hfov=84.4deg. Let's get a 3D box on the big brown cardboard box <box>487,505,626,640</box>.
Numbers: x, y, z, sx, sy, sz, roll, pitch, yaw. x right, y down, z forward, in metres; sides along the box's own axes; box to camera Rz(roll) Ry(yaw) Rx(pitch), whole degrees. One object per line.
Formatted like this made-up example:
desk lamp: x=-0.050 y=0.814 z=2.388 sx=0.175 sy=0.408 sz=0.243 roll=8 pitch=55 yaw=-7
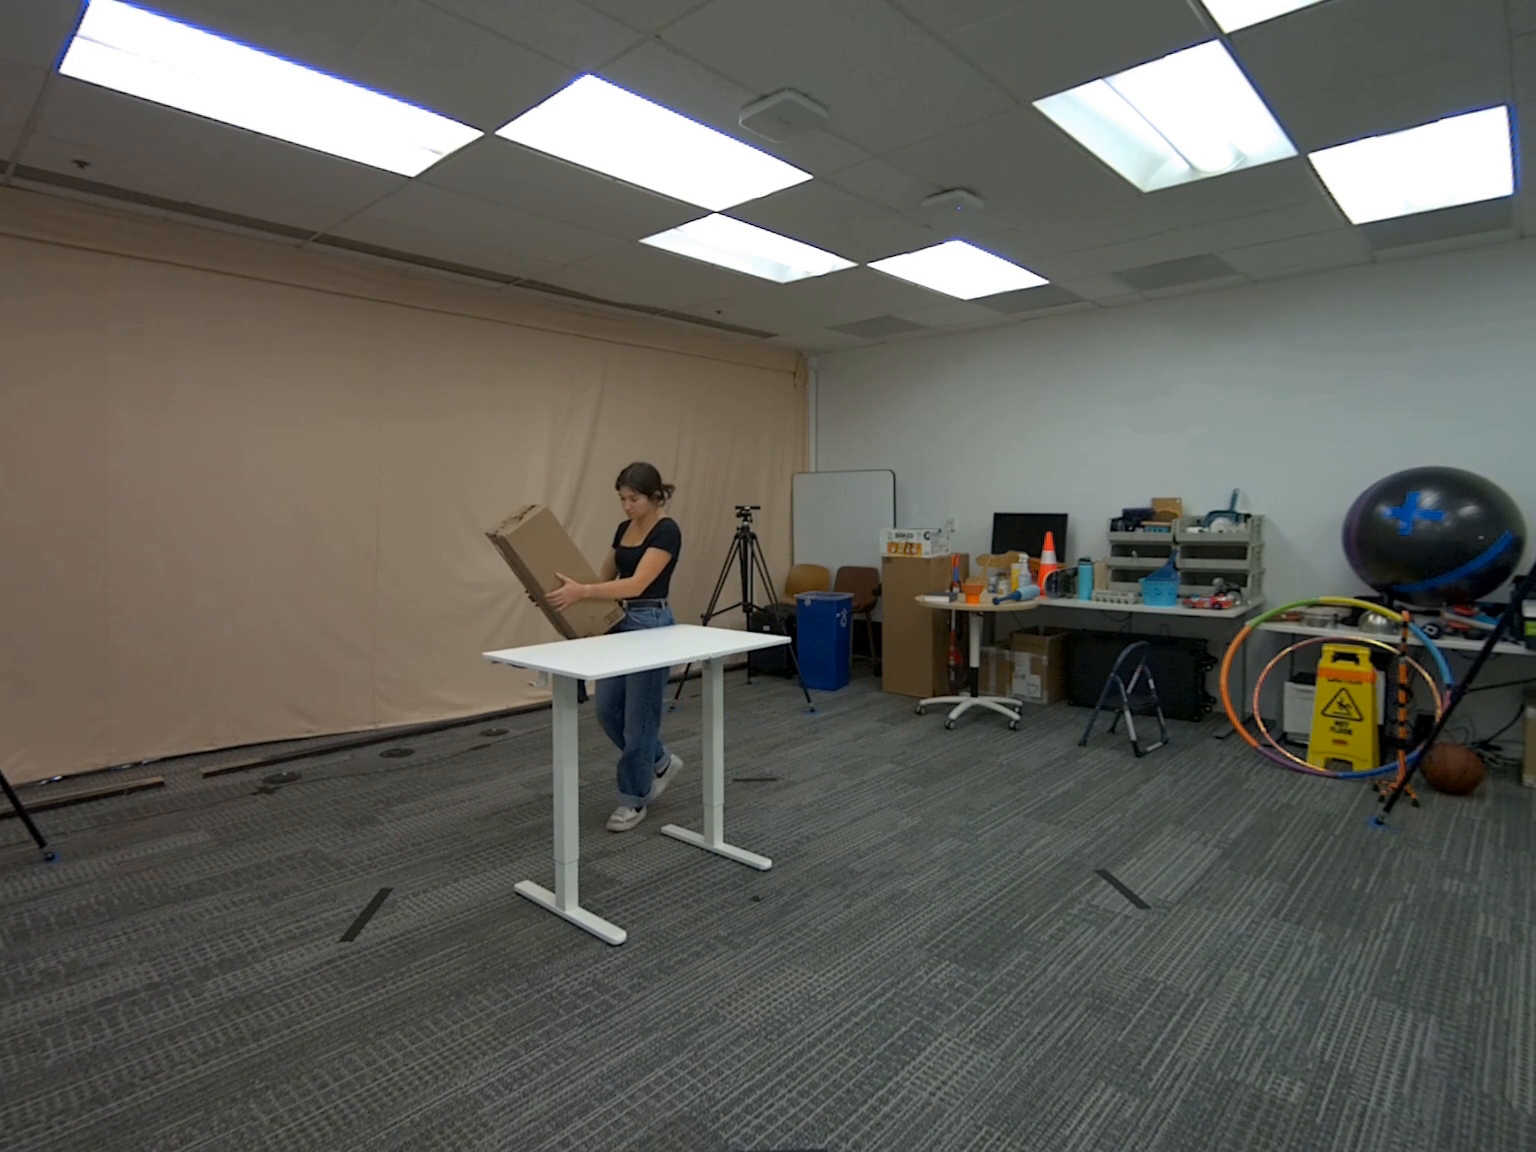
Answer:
big brown cardboard box: x=-0.917 y=-0.014 z=3.574 sx=0.231 sy=0.578 sz=0.429 roll=-40 pitch=19 yaw=-20
